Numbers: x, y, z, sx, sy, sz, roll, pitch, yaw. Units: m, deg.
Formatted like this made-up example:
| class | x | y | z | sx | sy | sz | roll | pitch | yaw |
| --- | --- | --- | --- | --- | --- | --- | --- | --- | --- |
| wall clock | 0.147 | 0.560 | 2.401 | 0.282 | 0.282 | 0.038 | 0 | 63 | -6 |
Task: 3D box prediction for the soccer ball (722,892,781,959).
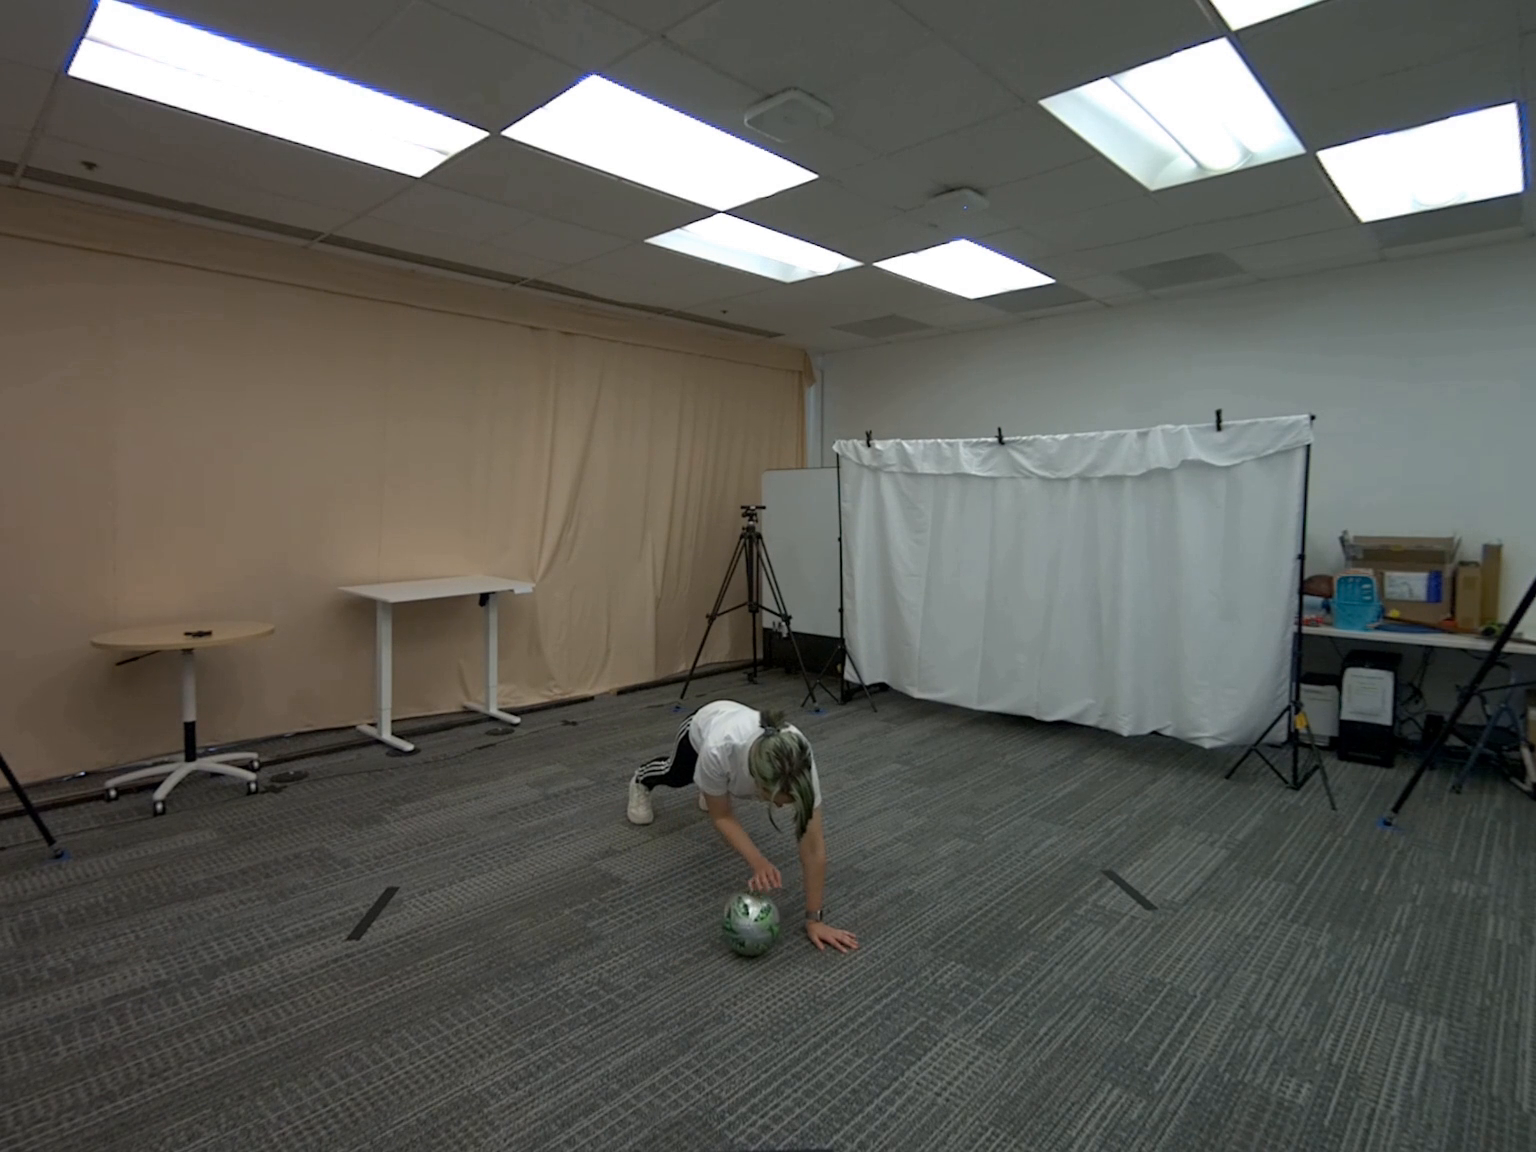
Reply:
| class | x | y | z | sx | sy | sz | roll | pitch | yaw |
| --- | --- | --- | --- | --- | --- | --- | --- | --- | --- |
| soccer ball | -0.057 | 1.074 | 2.629 | 0.187 | 0.187 | 0.188 | 0 | 4 | -2 |
